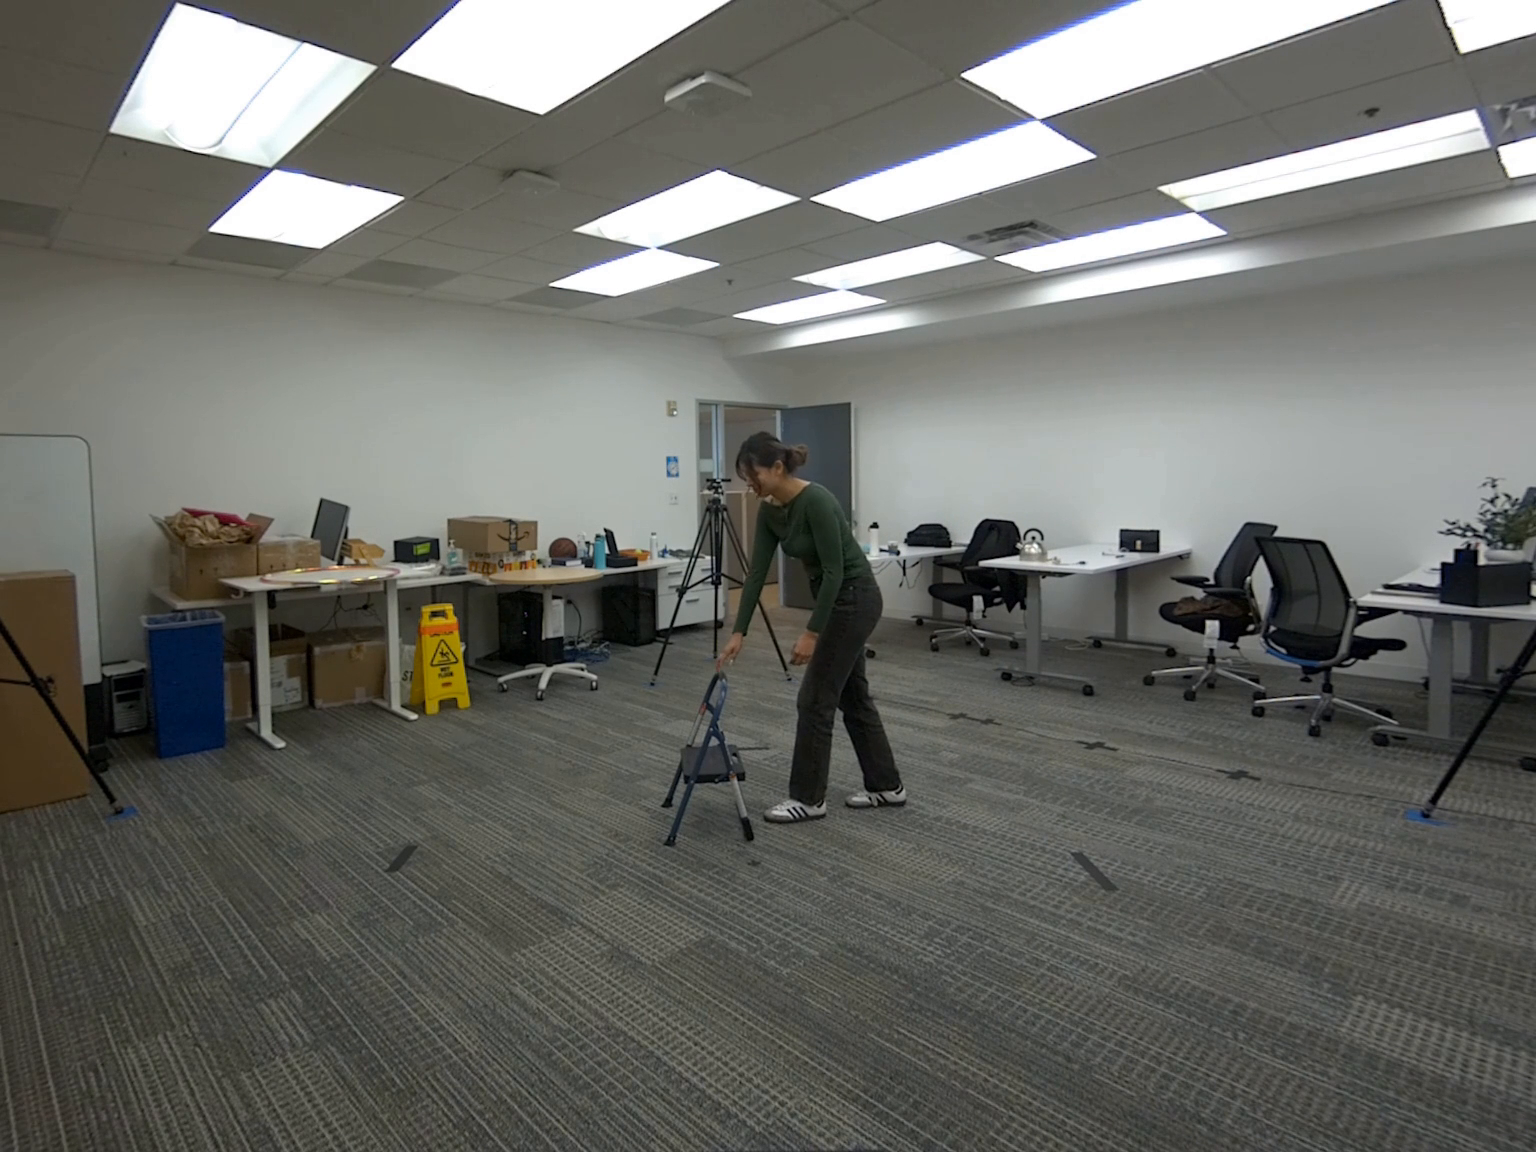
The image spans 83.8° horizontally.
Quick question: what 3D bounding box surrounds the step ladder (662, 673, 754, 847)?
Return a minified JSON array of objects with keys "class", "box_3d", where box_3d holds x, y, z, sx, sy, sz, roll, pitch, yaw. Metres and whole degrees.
[{"class":"step ladder","box_3d":[-0.249,0.707,3.464,0.347,0.604,0.435,-1,4,-7]}]
